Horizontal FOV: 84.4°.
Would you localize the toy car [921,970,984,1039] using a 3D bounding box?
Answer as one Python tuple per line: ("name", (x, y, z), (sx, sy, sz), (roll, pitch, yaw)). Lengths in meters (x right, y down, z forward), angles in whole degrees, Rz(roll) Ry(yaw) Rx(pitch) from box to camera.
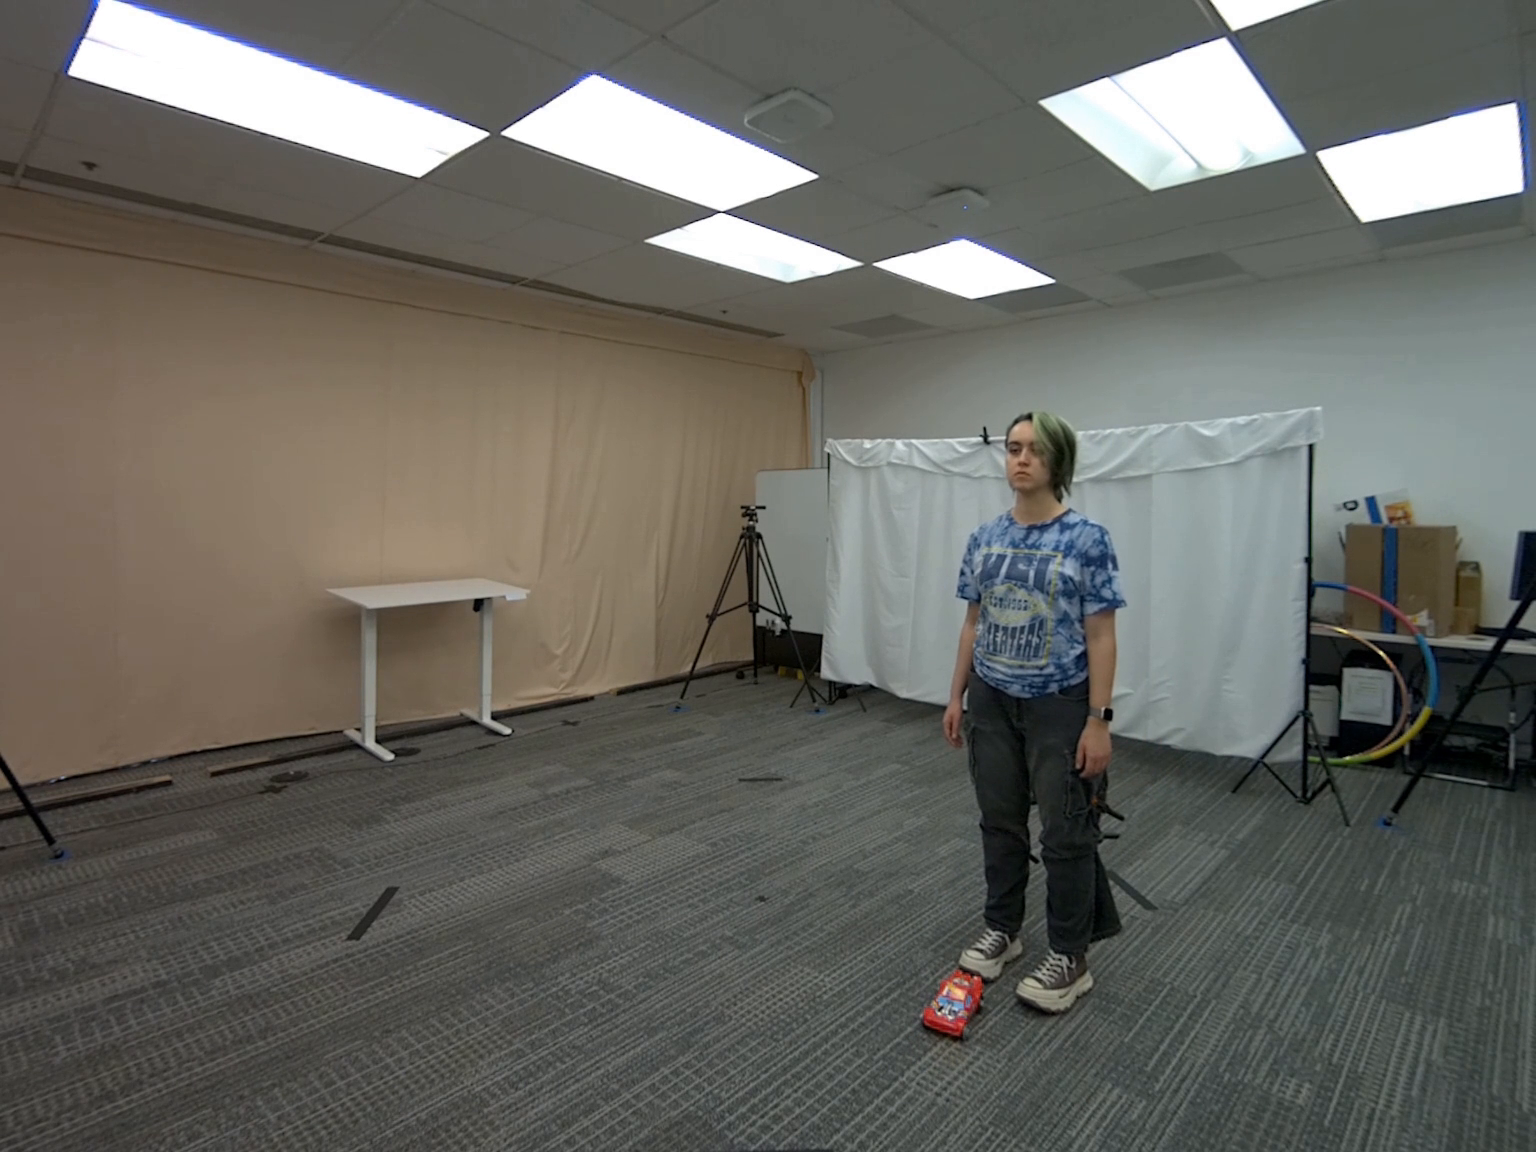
("toy car", (0.520, 1.173, 2.298), (0.134, 0.082, 0.249), (2, 16, 31))
